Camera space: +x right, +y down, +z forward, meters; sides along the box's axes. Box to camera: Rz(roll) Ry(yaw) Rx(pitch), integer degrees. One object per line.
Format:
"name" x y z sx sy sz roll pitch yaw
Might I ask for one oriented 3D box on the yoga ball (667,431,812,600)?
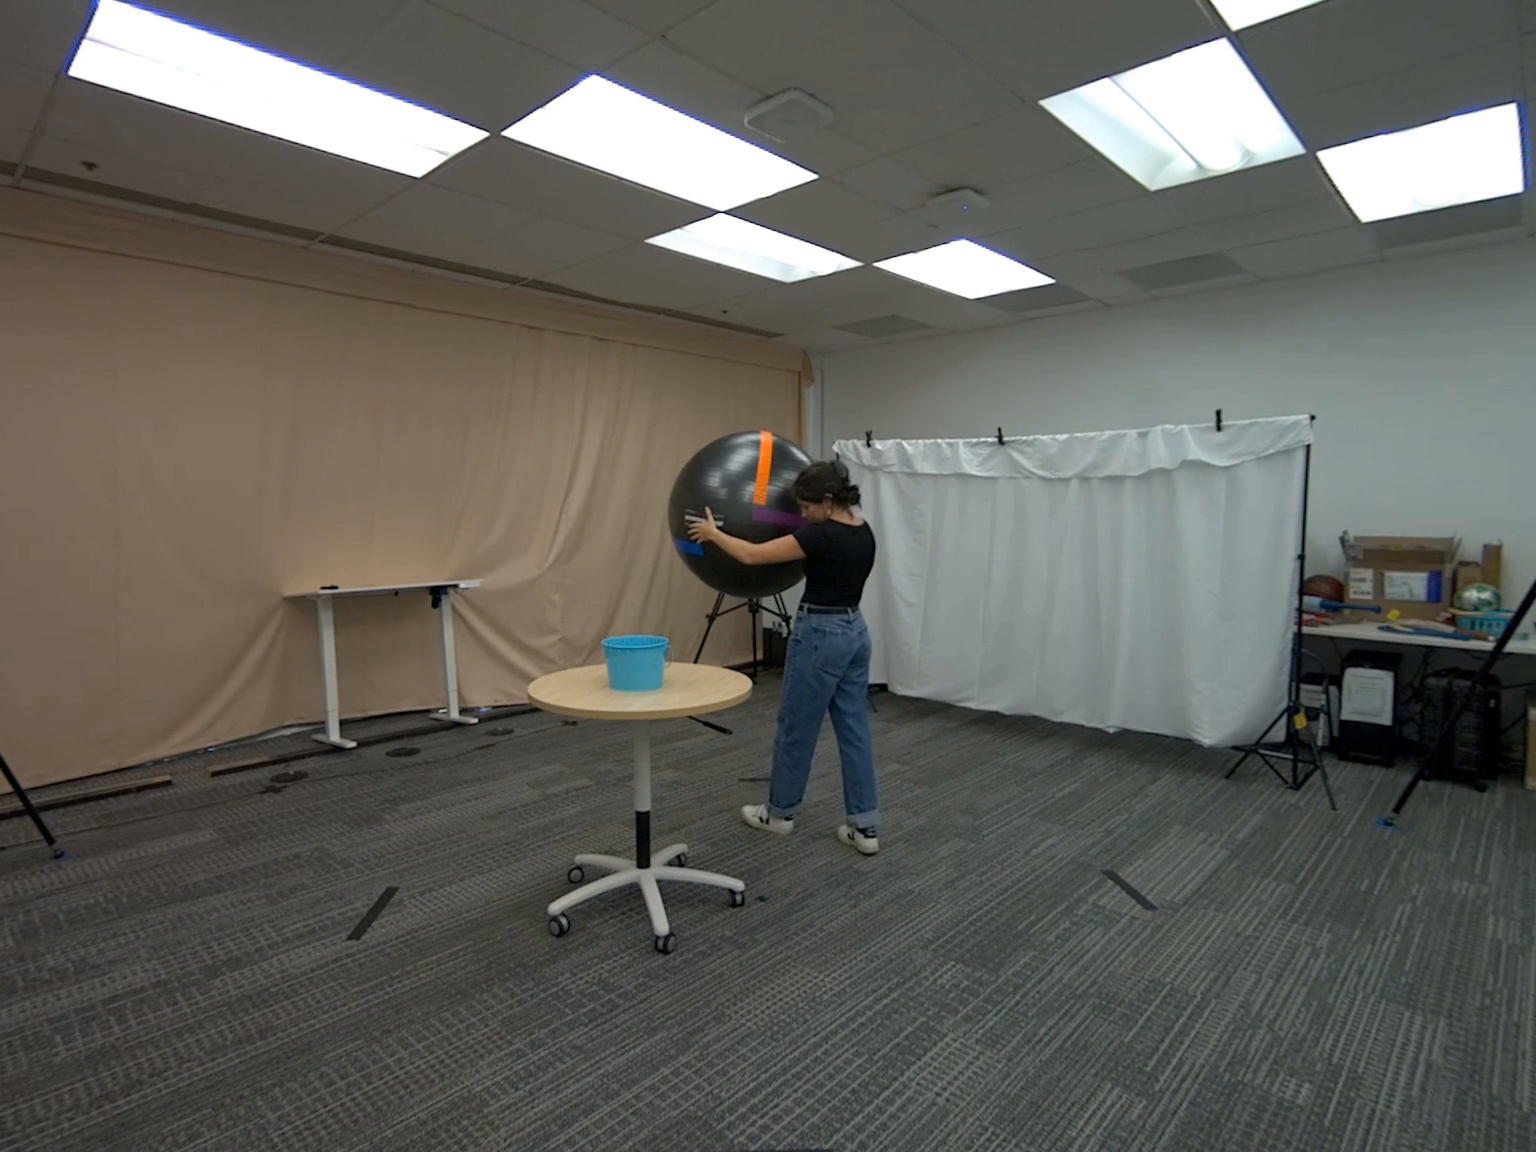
"yoga ball" -0.085 -0.274 3.872 0.757 0.756 0.760 0 4 -2
